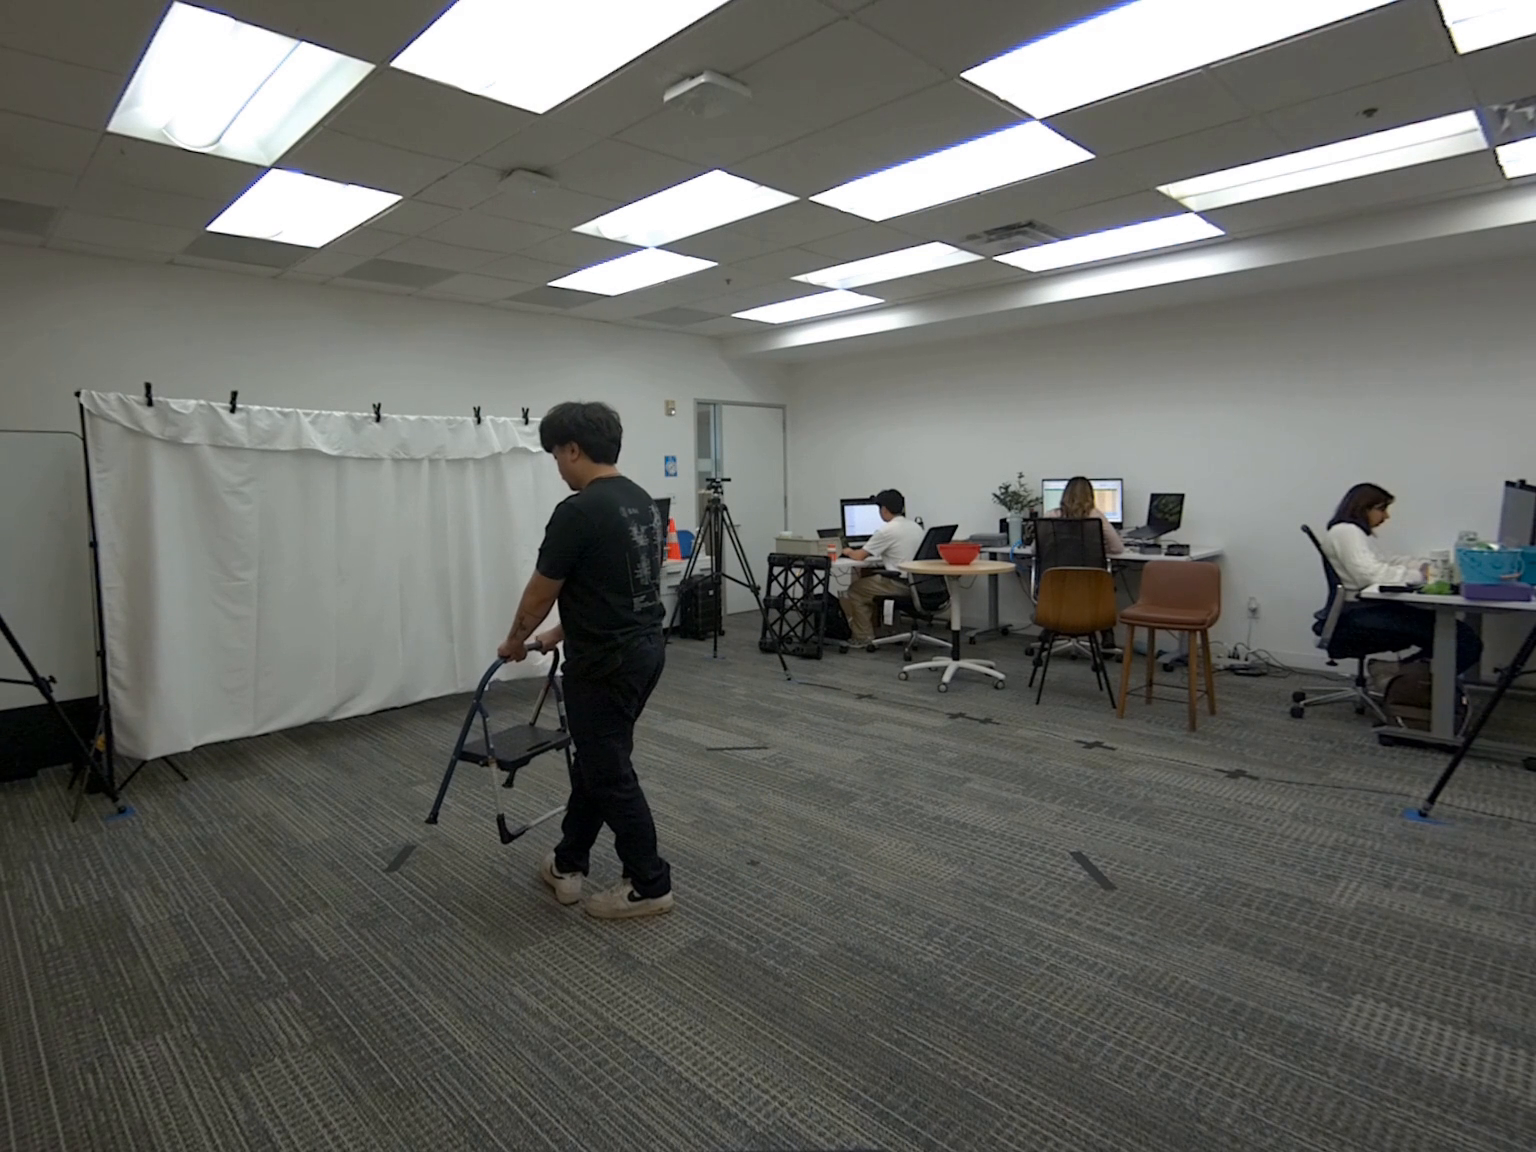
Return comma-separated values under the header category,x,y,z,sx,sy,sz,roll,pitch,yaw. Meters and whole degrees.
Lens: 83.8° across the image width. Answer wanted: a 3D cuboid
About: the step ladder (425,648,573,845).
category,x,y,z,sx,sy,sz,roll,pitch,yaw
step ladder,-0.896,0.529,2.959,0.357,0.604,0.422,5,5,23
